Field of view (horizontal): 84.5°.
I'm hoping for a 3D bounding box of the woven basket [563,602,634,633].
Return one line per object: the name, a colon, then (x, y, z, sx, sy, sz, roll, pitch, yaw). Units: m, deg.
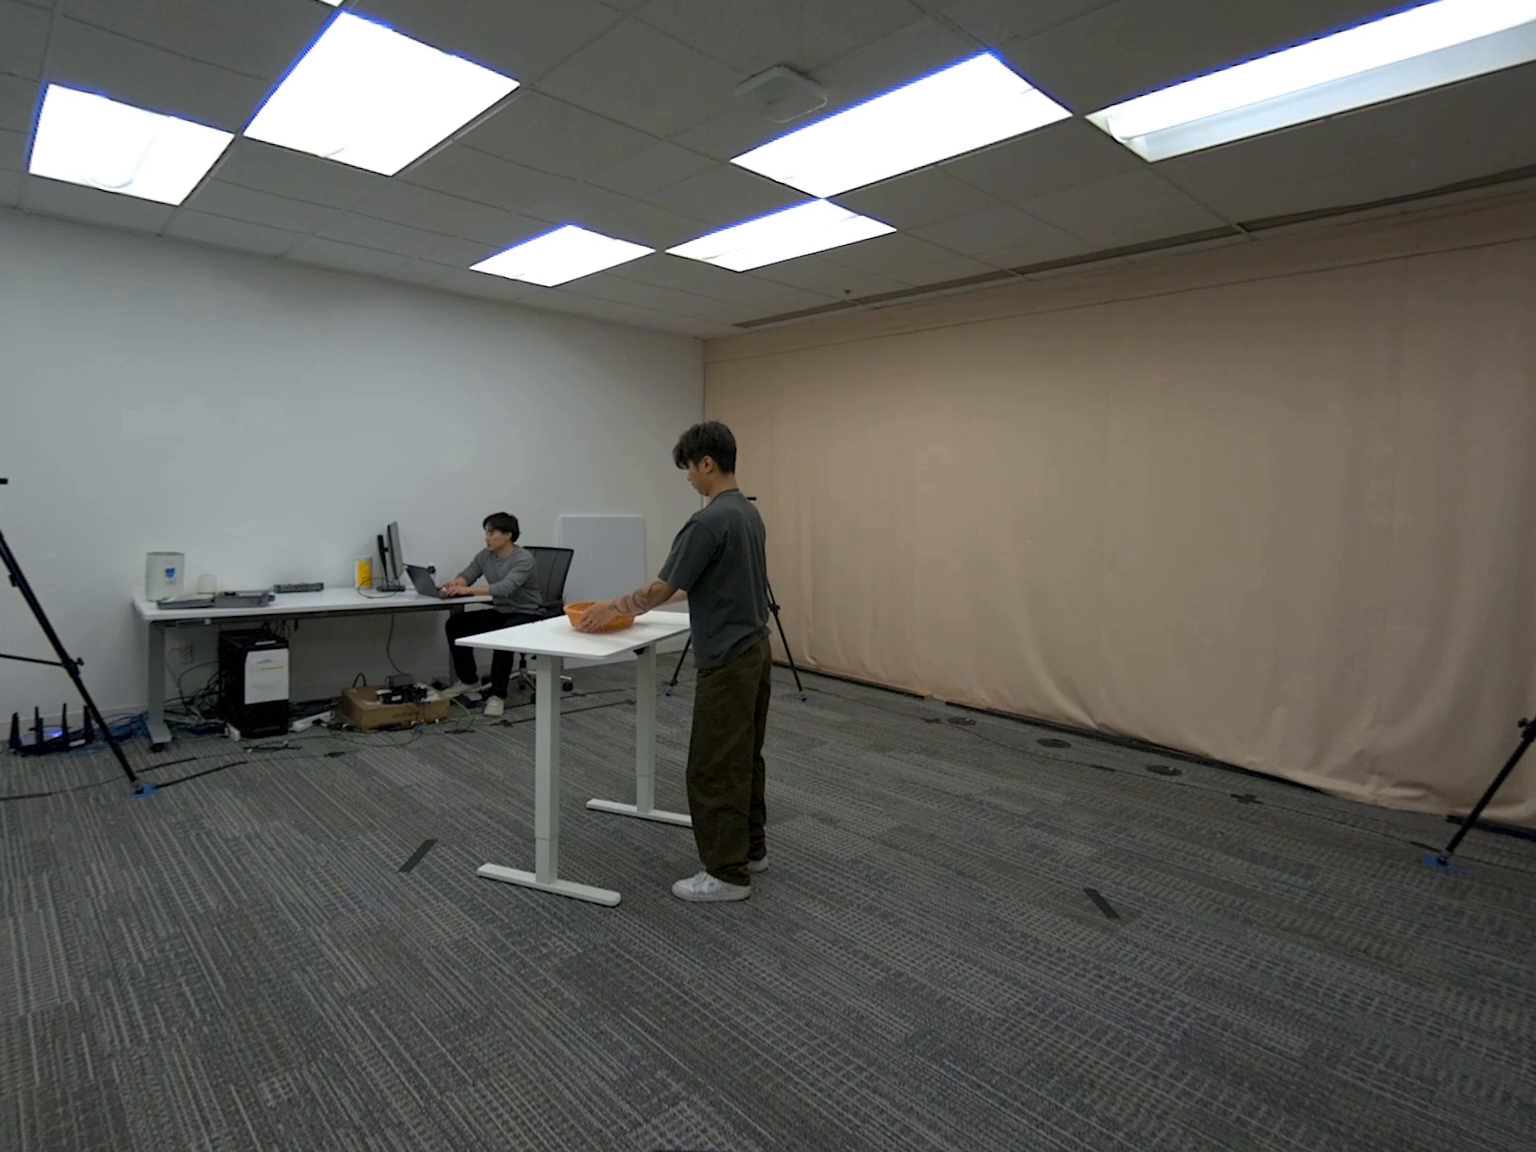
woven basket: (-0.640, 0.159, 3.243, 0.257, 0.073, 0.344, 5, 5, 25)
